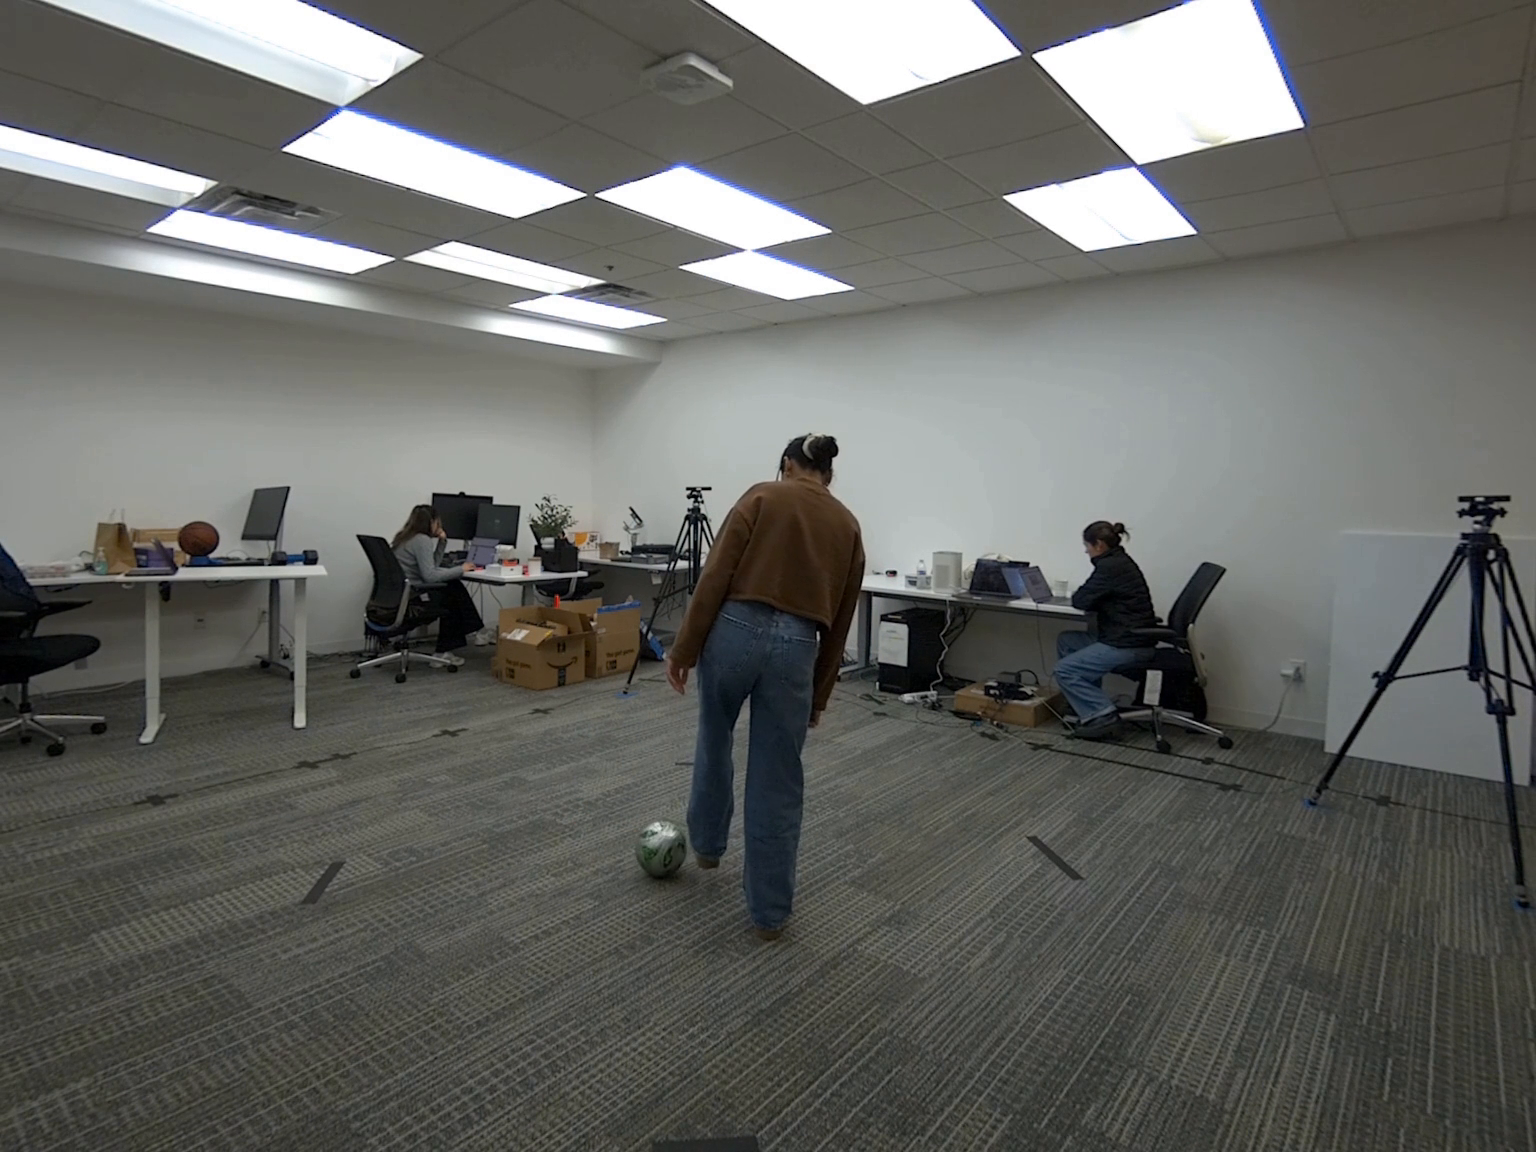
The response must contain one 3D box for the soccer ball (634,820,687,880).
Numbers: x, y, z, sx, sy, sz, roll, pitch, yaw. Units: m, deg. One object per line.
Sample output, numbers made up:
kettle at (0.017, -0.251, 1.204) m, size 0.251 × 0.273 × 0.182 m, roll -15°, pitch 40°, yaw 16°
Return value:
soccer ball at (-0.397, 0.976, 3.052) m, size 0.187 × 0.187 × 0.188 m, roll 1°, pitch 4°, yaw -2°
